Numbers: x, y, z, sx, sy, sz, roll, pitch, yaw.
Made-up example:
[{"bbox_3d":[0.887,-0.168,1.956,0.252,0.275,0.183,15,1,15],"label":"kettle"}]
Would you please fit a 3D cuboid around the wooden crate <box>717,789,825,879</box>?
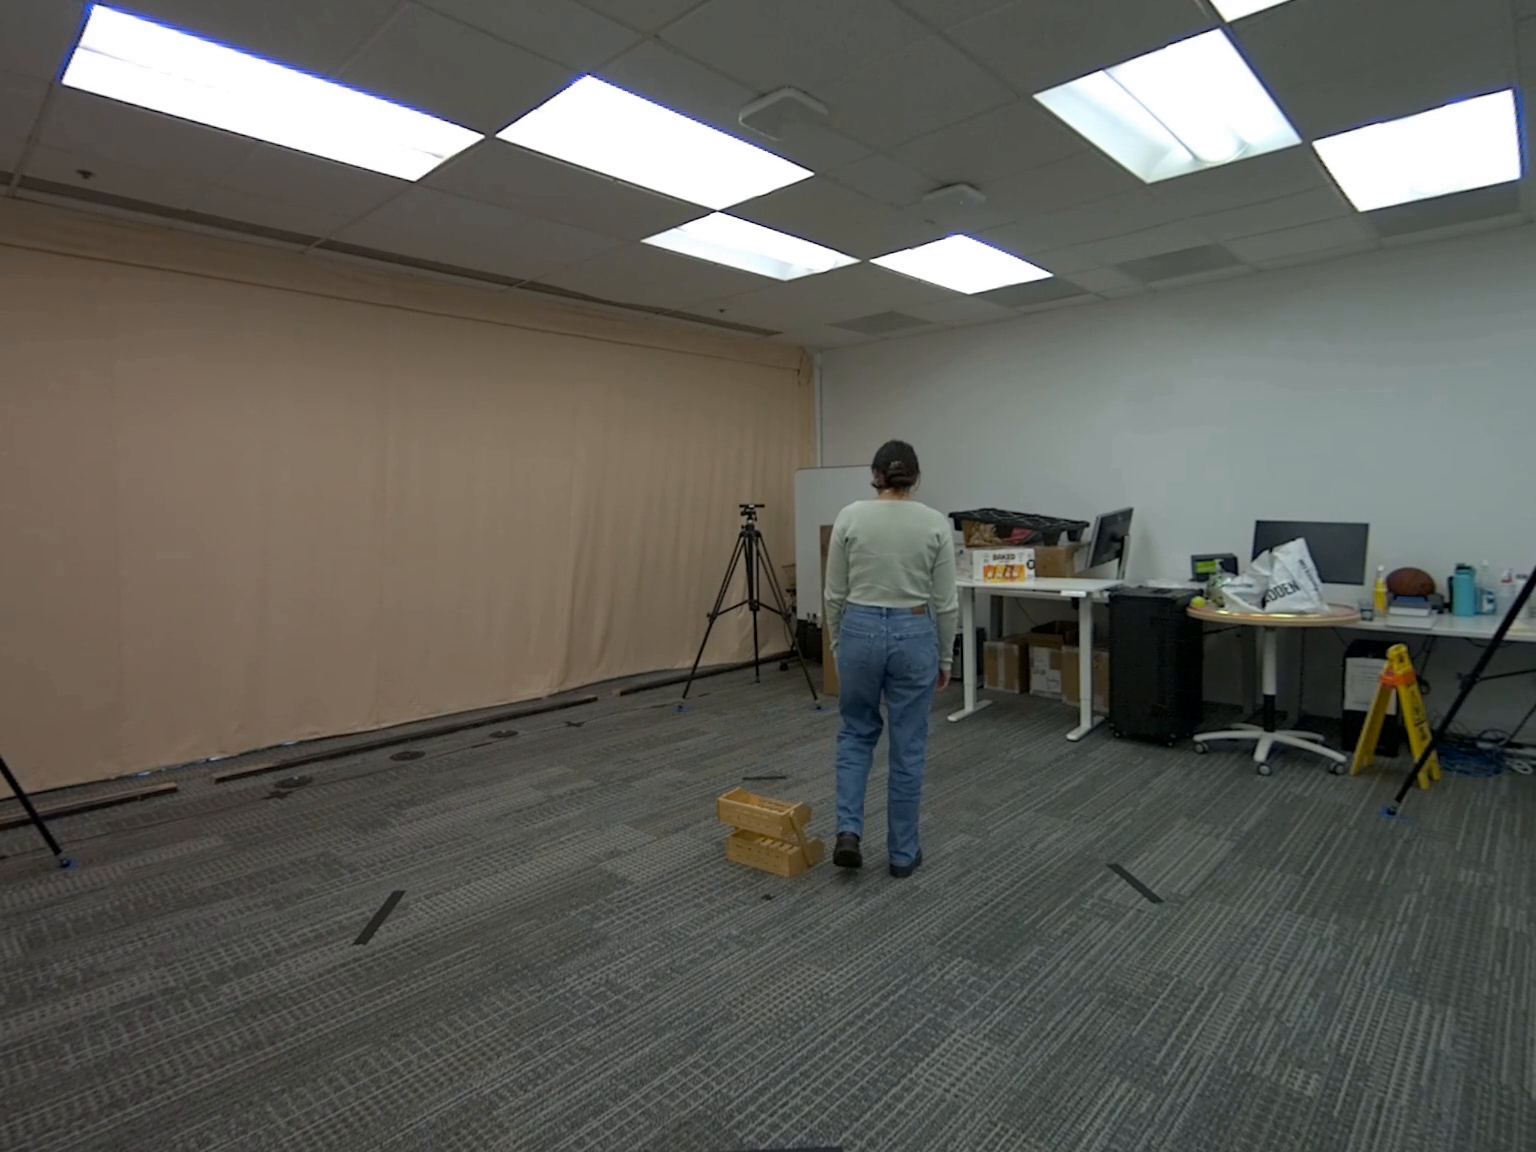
[{"bbox_3d":[0.020,0.979,3.288,0.335,0.272,0.293,2,6,35],"label":"wooden crate"}]
